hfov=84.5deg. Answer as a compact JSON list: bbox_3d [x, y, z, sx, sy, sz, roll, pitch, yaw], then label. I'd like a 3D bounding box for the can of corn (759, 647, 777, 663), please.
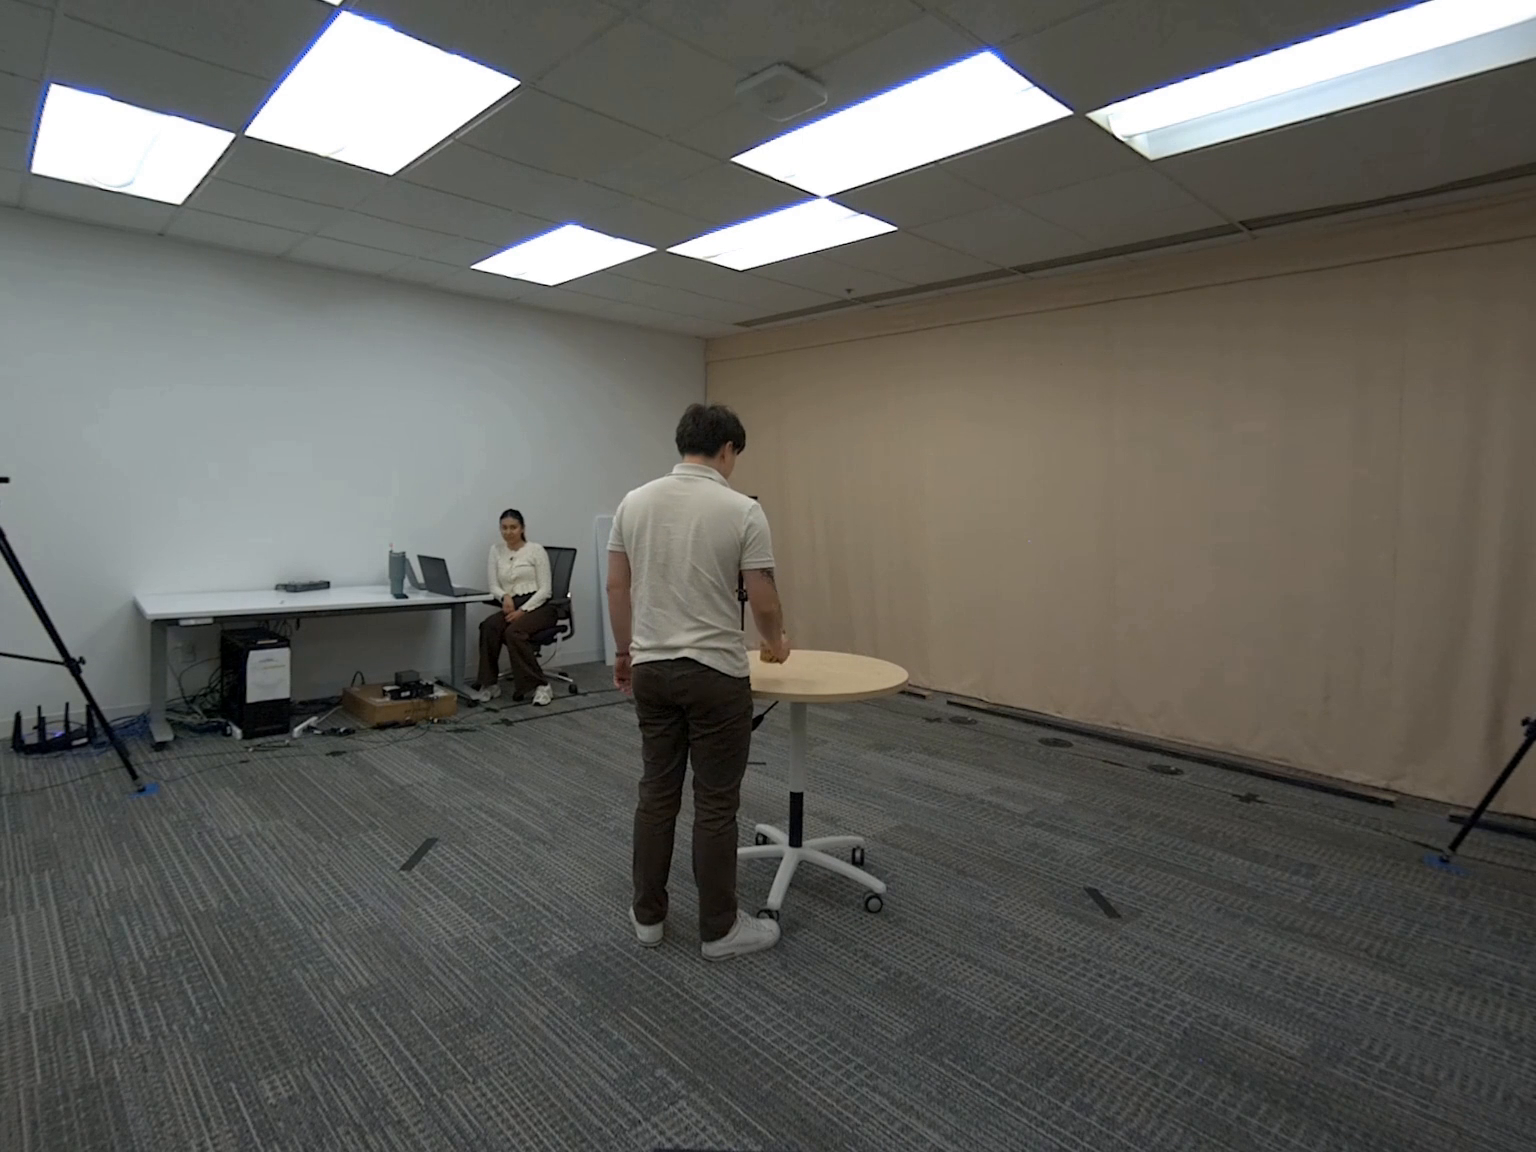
[{"bbox_3d":[0.013,0.238,2.821,0.074,0.110,0.074,2,5,-2],"label":"can of corn"}]
